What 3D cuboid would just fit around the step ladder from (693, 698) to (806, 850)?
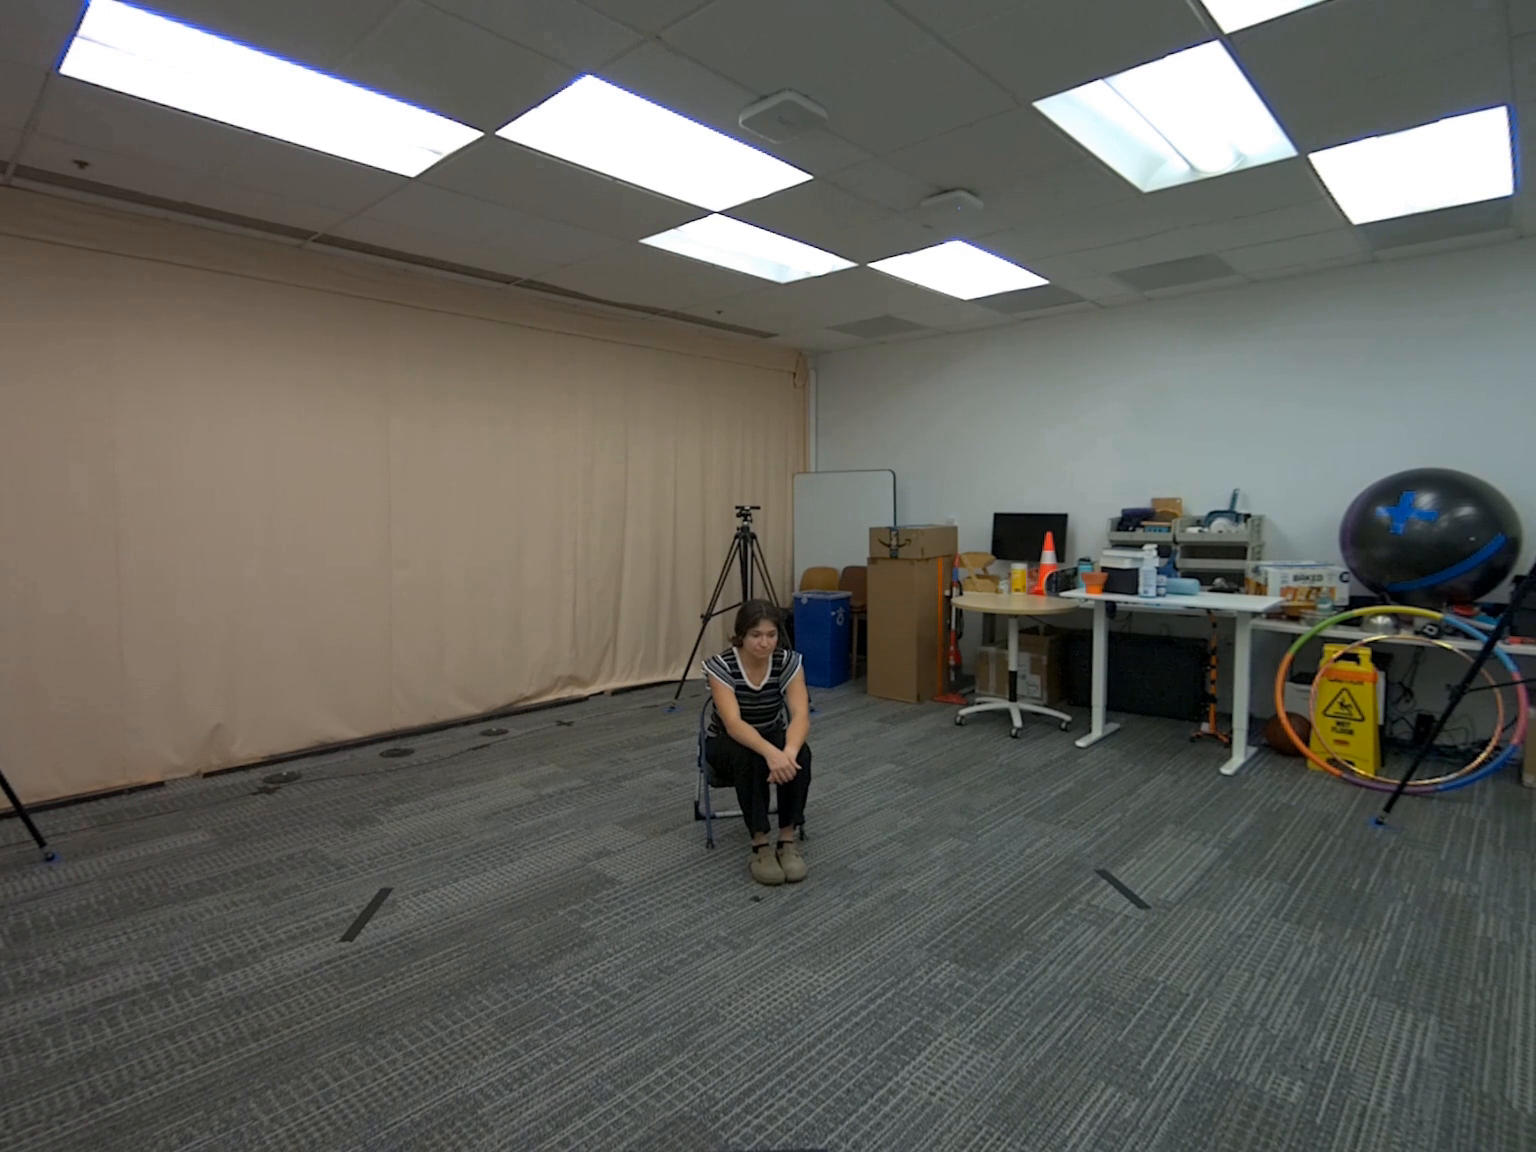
[{"bbox_3d":[-0.086,0.796,3.618,0.425,0.605,0.355,0,3,-14],"label":"step ladder"}]
